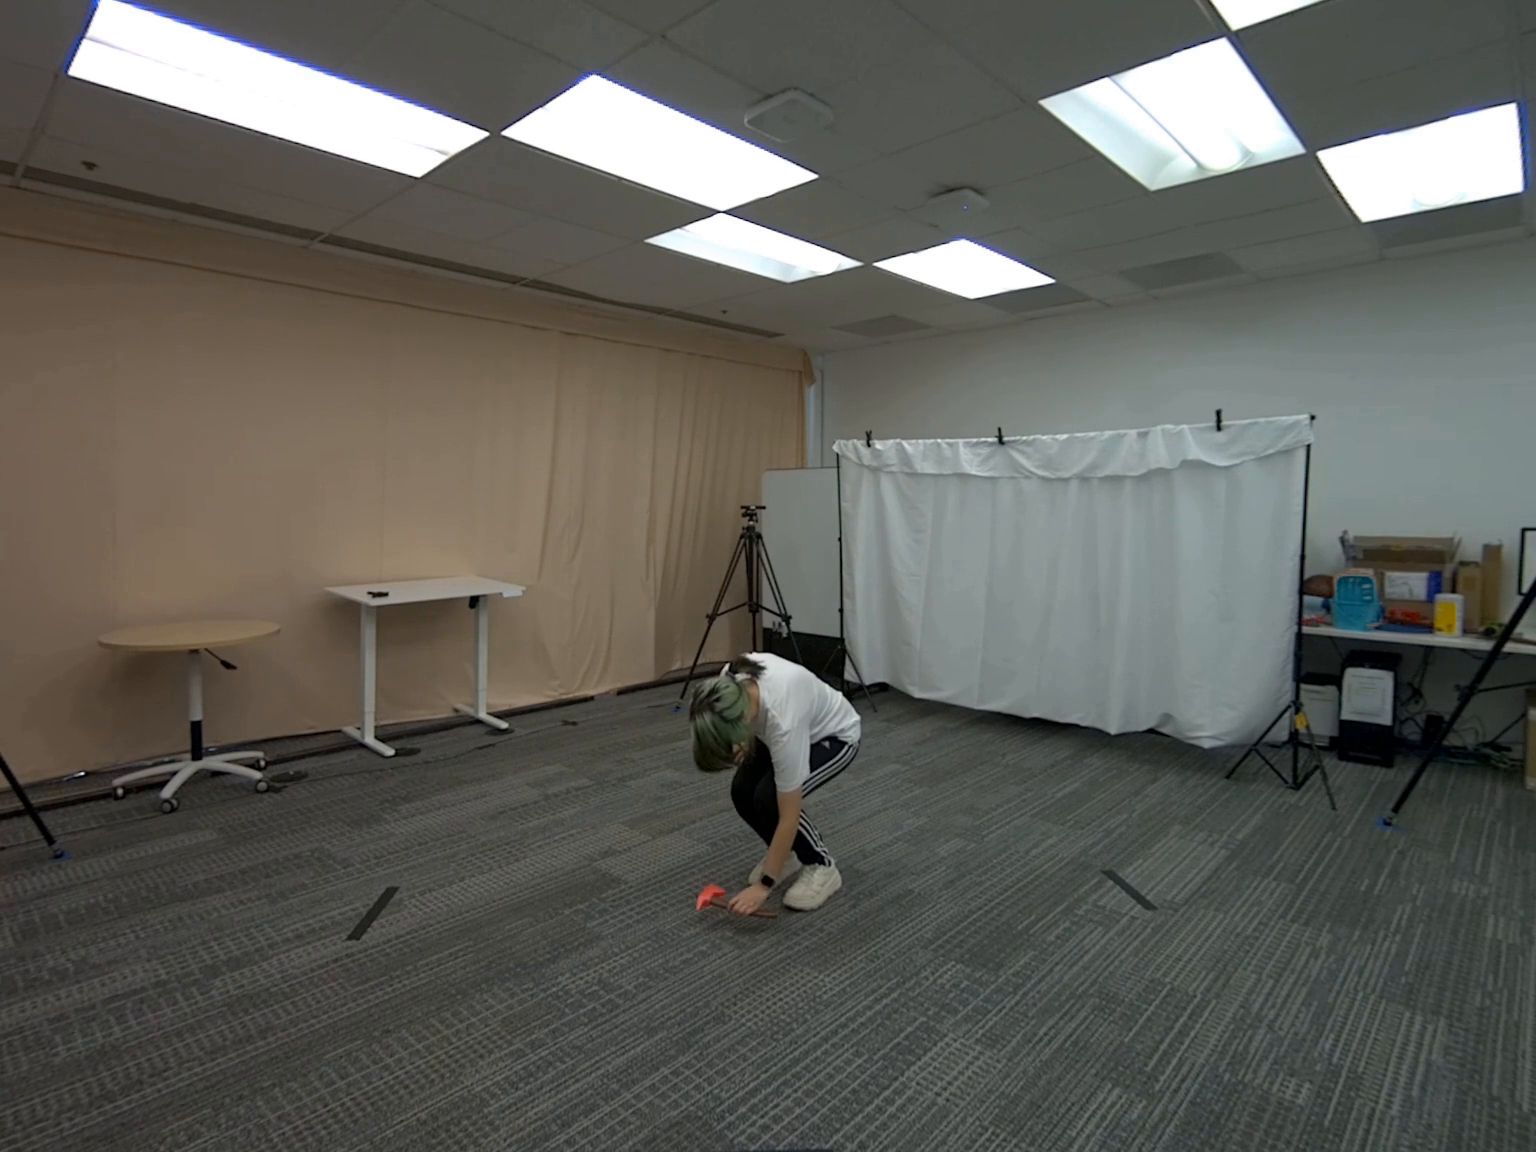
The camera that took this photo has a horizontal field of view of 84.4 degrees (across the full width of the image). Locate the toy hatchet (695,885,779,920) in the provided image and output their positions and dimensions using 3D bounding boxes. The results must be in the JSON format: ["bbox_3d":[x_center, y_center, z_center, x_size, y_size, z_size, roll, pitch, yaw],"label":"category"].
[{"bbox_3d":[-0.100,1.077,2.787,0.271,0.029,0.131,5,17,4],"label":"toy hatchet"}]
